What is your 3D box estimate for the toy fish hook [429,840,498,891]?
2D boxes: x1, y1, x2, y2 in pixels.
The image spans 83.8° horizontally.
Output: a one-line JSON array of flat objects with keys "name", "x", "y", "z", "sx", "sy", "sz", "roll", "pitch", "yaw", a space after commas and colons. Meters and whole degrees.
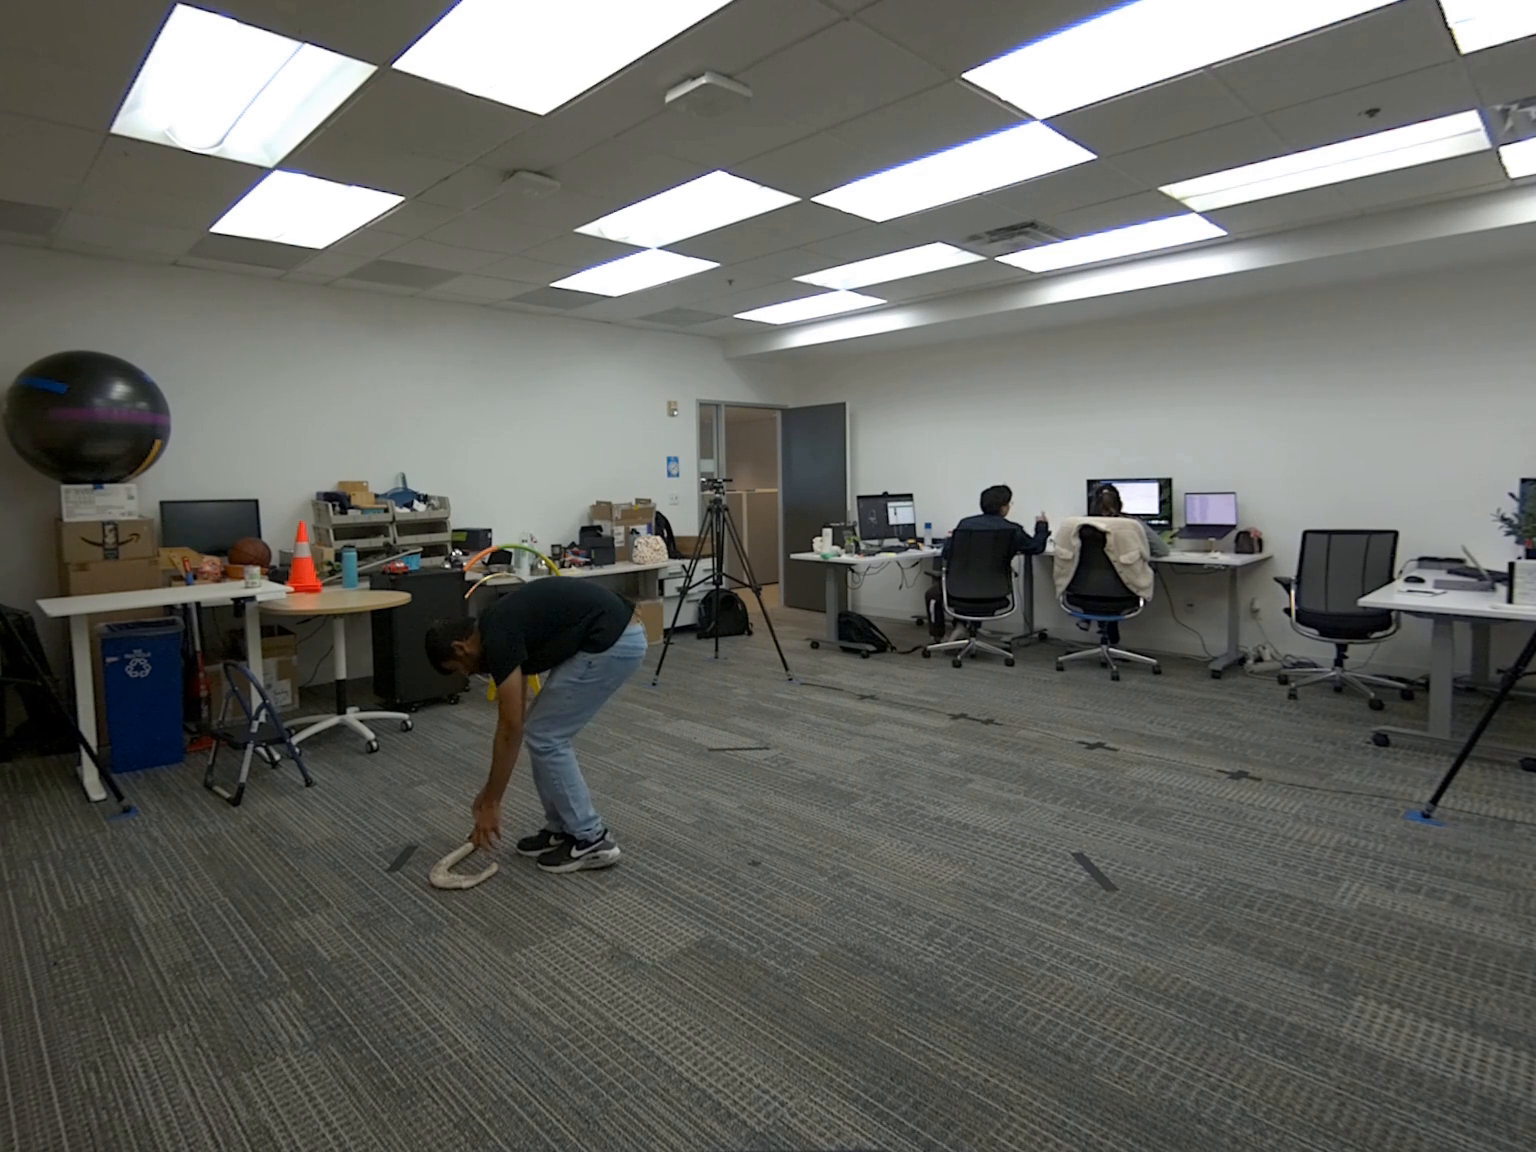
[{"name": "toy fish hook", "x": -1.077, "y": 1.035, "z": 3.198, "sx": 0.225, "sy": 0.048, "sz": 0.508, "roll": 6, "pitch": 8, "yaw": 0}]
